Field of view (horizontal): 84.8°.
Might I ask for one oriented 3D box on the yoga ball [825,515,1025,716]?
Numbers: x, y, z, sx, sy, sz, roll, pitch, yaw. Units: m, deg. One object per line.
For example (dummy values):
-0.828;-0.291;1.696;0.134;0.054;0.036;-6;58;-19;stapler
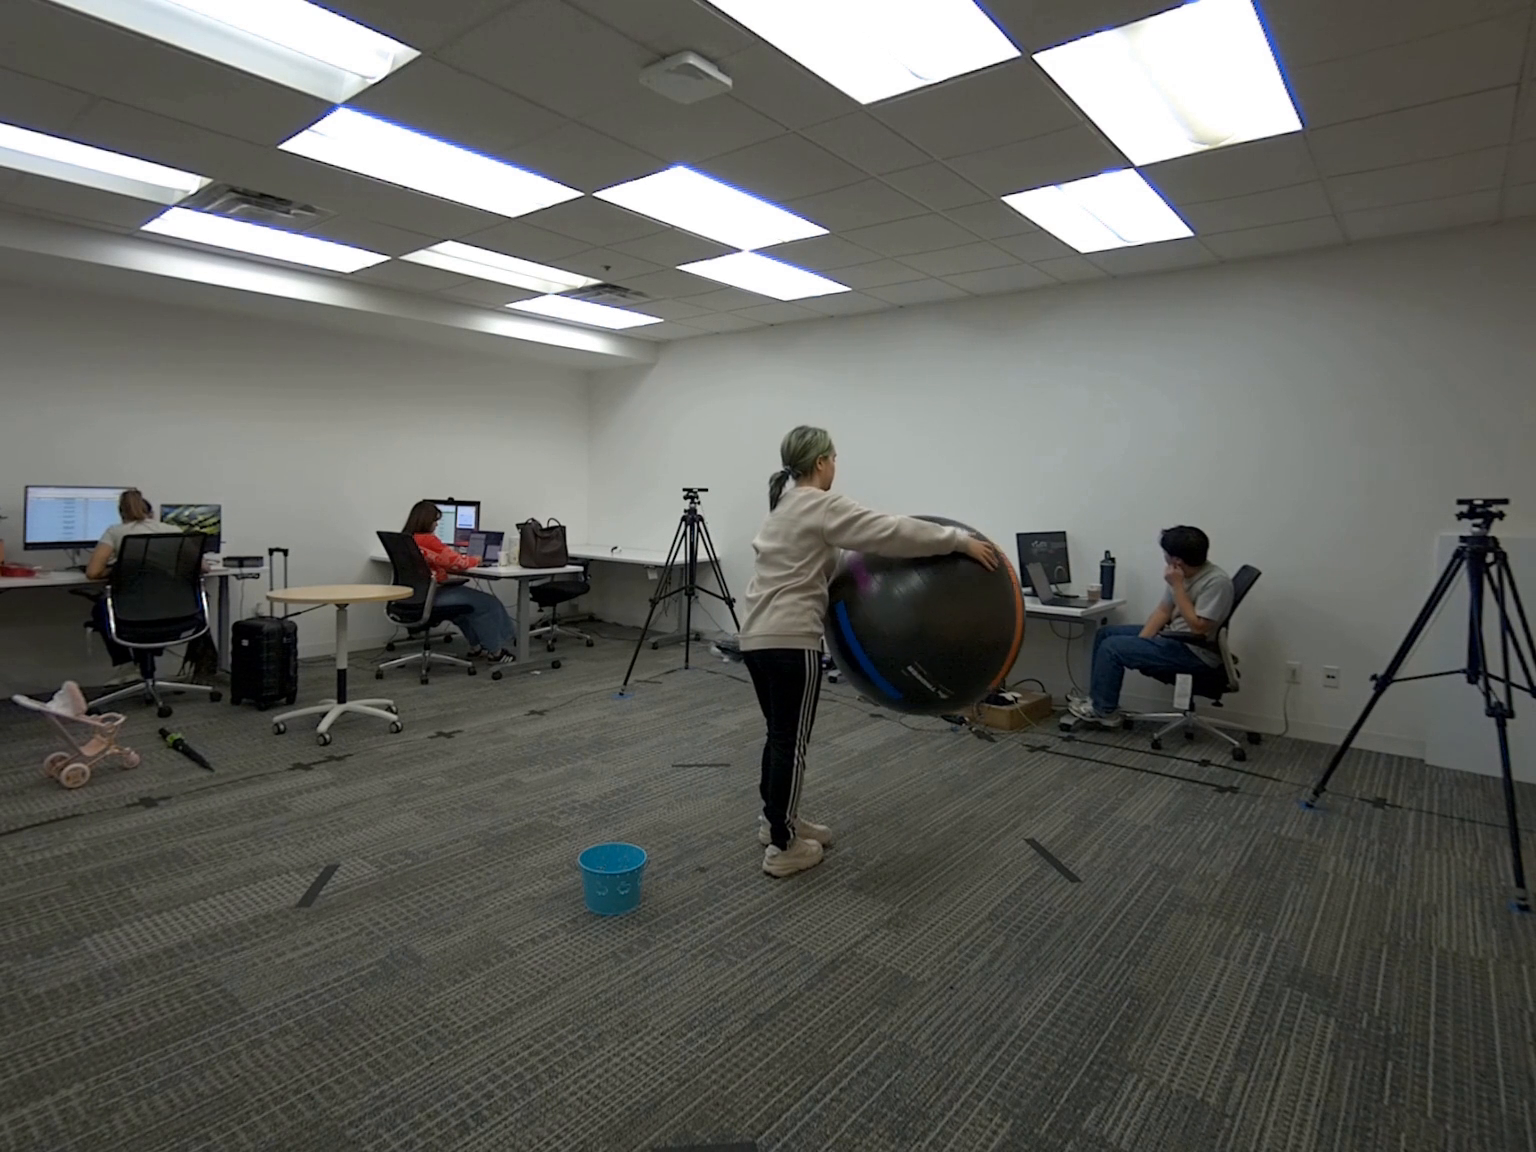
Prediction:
0.584;0.147;3.255;0.757;0.756;0.761;1;4;-2;yoga ball
